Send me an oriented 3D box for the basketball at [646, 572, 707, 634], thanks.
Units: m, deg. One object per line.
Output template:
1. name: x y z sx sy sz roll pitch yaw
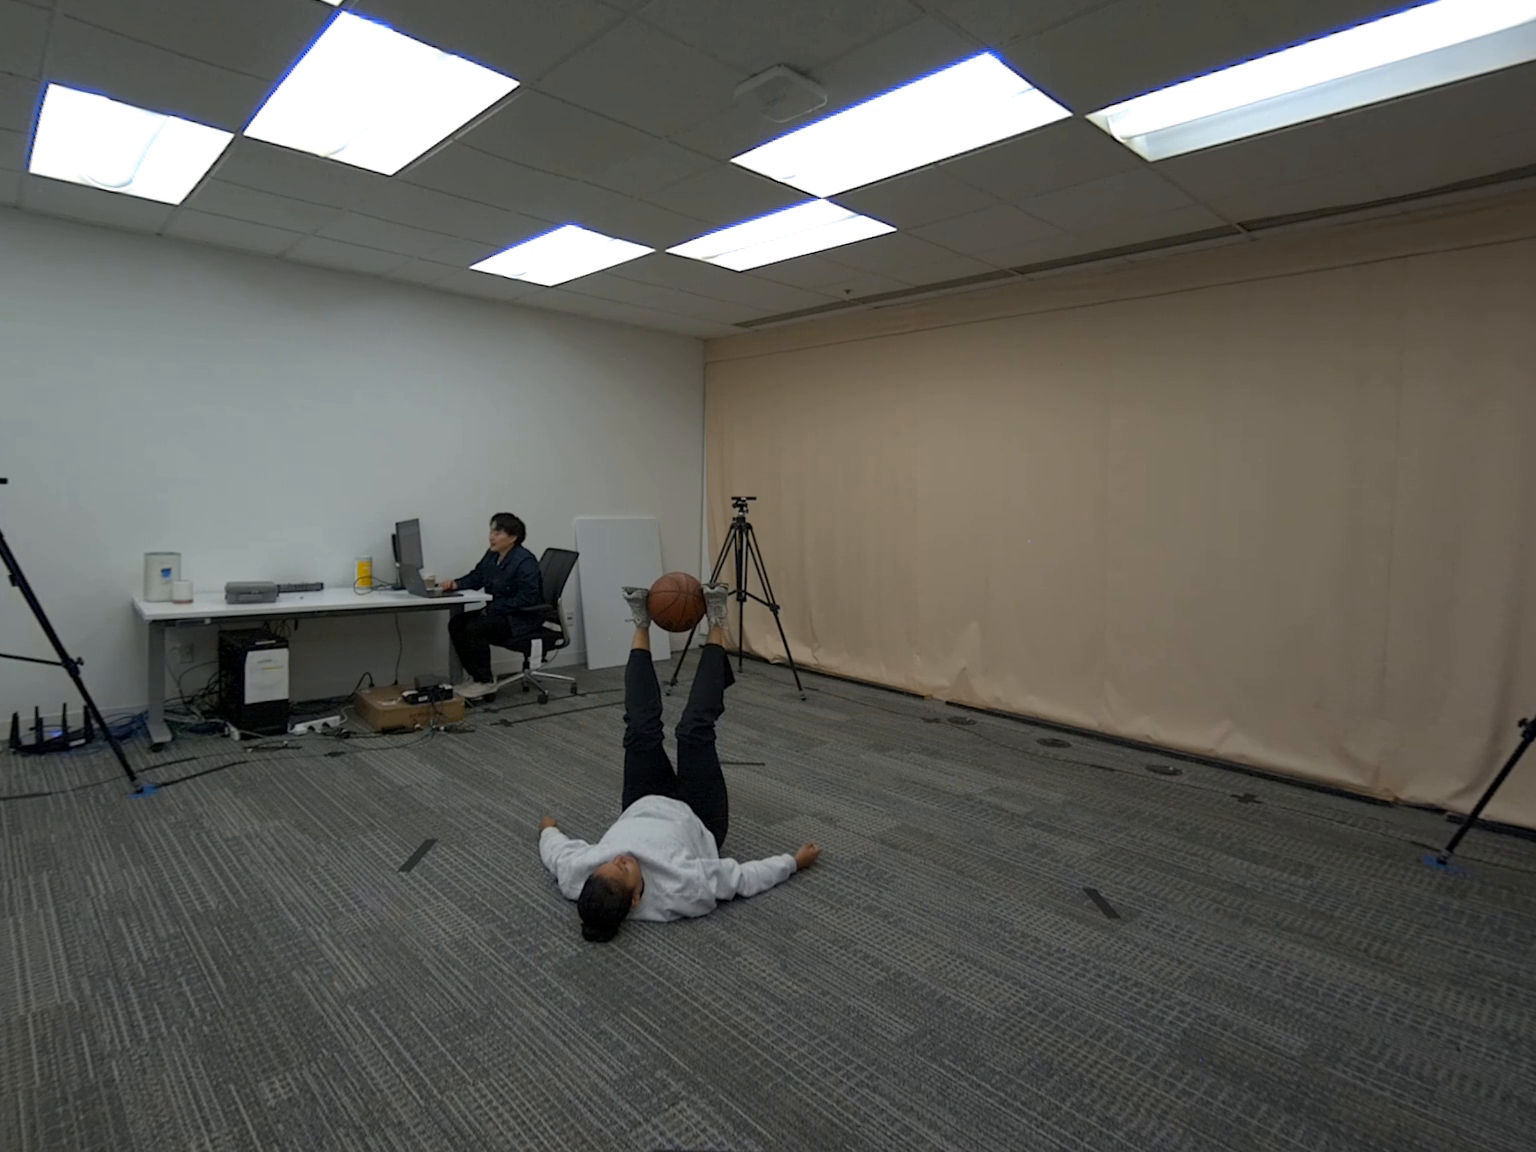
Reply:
1. basketball: -0.364 0.105 3.336 0.235 0.235 0.237 4 7 -2
